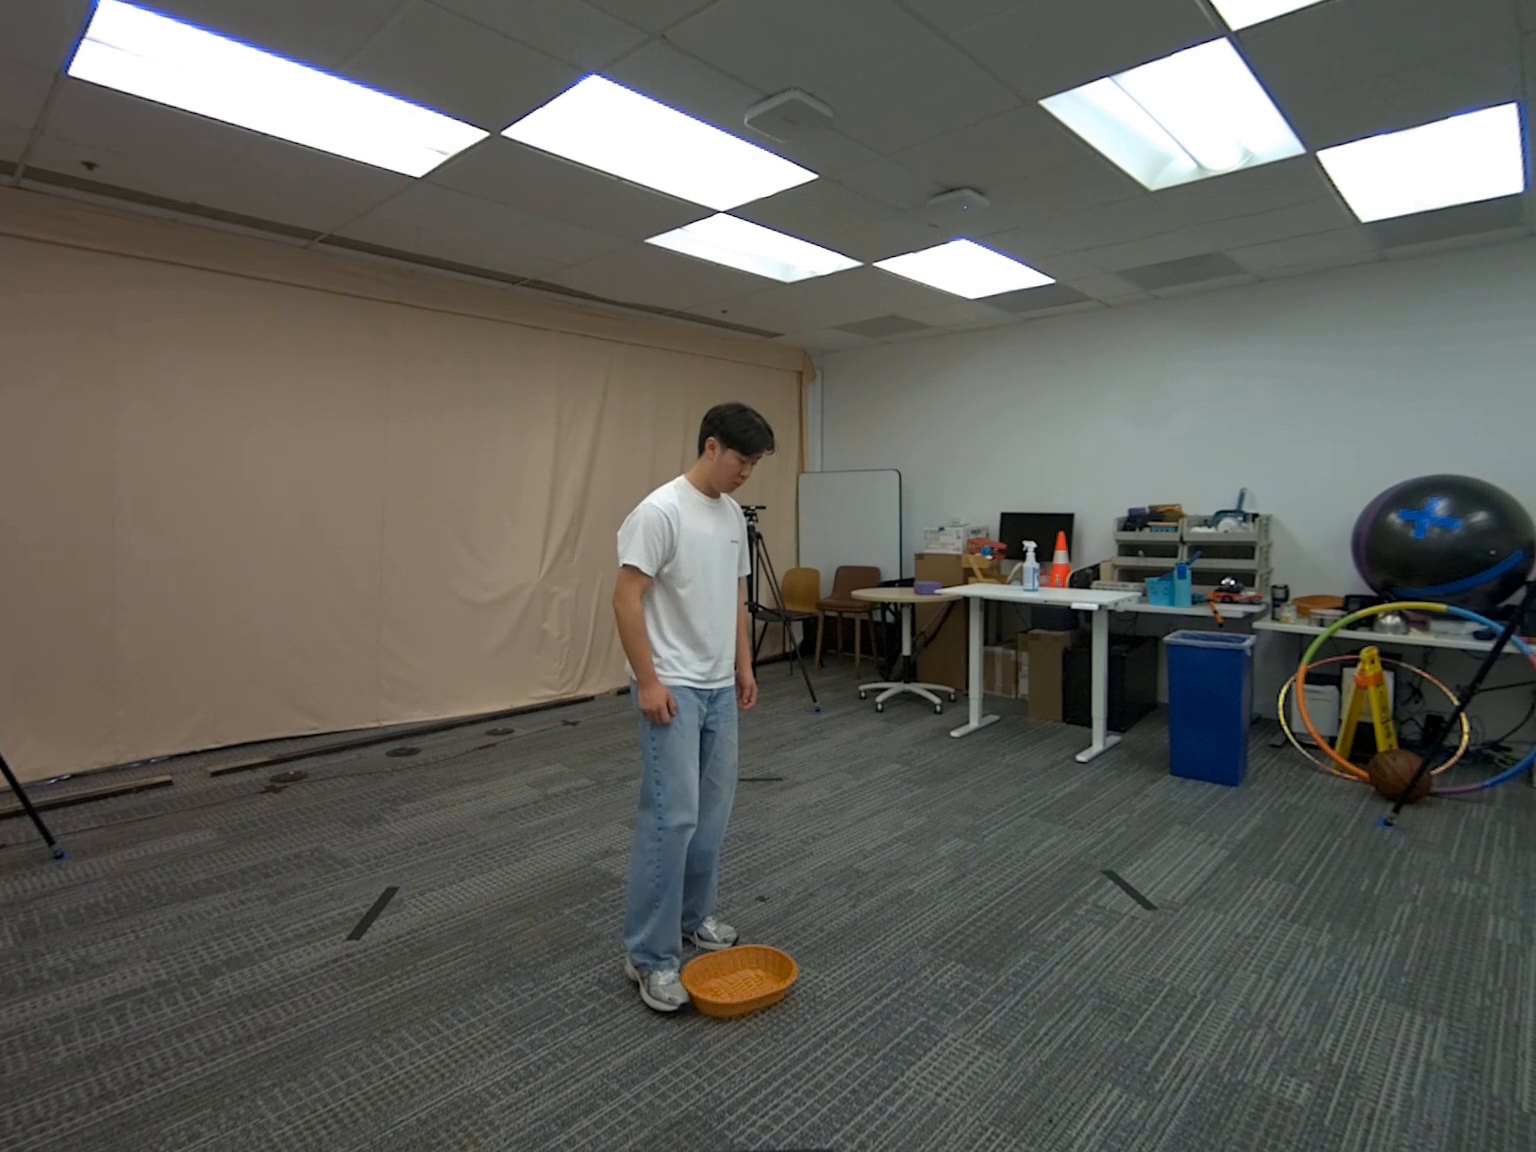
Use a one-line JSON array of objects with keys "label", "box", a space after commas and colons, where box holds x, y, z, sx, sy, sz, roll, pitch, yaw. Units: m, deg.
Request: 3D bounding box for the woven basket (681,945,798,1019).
[{"label": "woven basket", "box": [-0.048, 1.153, 2.398, 0.342, 0.073, 0.259, -1, 5, -26]}]
